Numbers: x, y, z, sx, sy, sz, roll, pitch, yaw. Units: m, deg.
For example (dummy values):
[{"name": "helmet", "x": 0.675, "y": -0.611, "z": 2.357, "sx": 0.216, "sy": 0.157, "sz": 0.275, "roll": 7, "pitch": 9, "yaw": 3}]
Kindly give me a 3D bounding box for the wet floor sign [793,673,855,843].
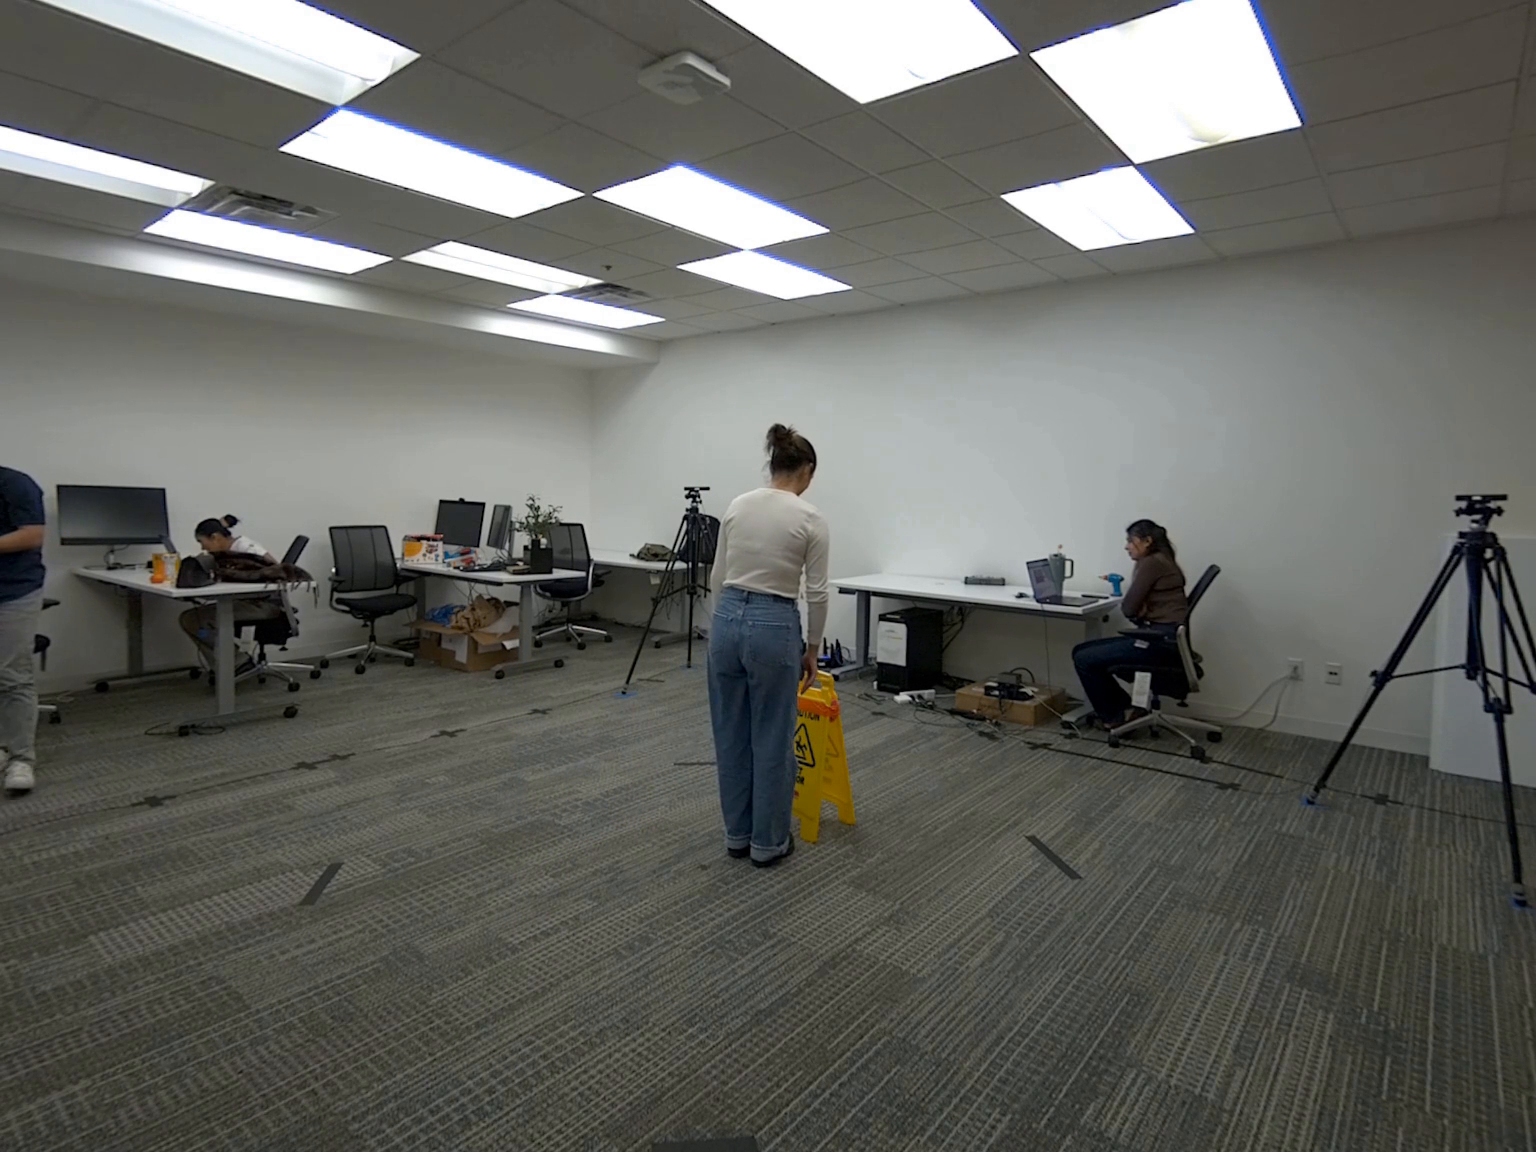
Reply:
[{"name": "wet floor sign", "x": 0.173, "y": 0.706, "z": 3.532, "sx": 0.292, "sy": 0.644, "sz": 0.281, "roll": 5, "pitch": 4, "yaw": 42}]
